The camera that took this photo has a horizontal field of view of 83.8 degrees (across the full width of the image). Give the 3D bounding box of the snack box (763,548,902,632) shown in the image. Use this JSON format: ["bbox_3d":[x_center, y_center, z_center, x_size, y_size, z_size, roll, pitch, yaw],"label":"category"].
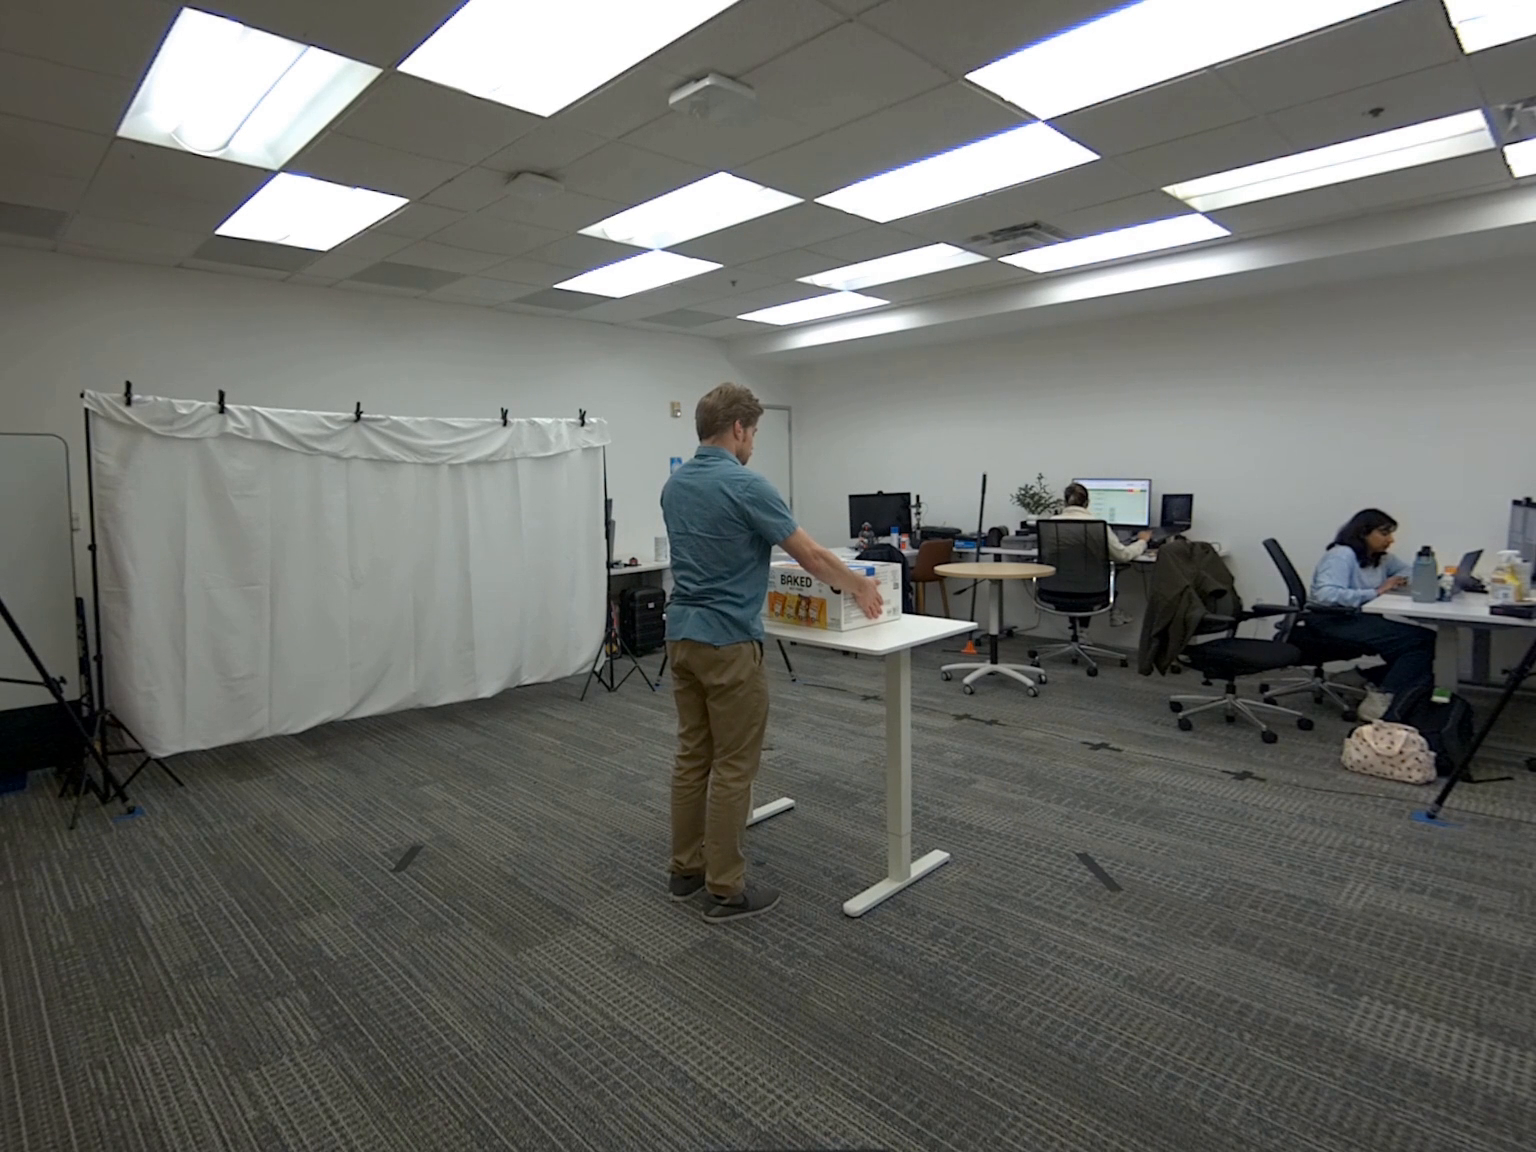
[{"bbox_3d":[0.222,0.057,3.115,0.332,0.205,0.418,-8,9,-44],"label":"snack box"}]
